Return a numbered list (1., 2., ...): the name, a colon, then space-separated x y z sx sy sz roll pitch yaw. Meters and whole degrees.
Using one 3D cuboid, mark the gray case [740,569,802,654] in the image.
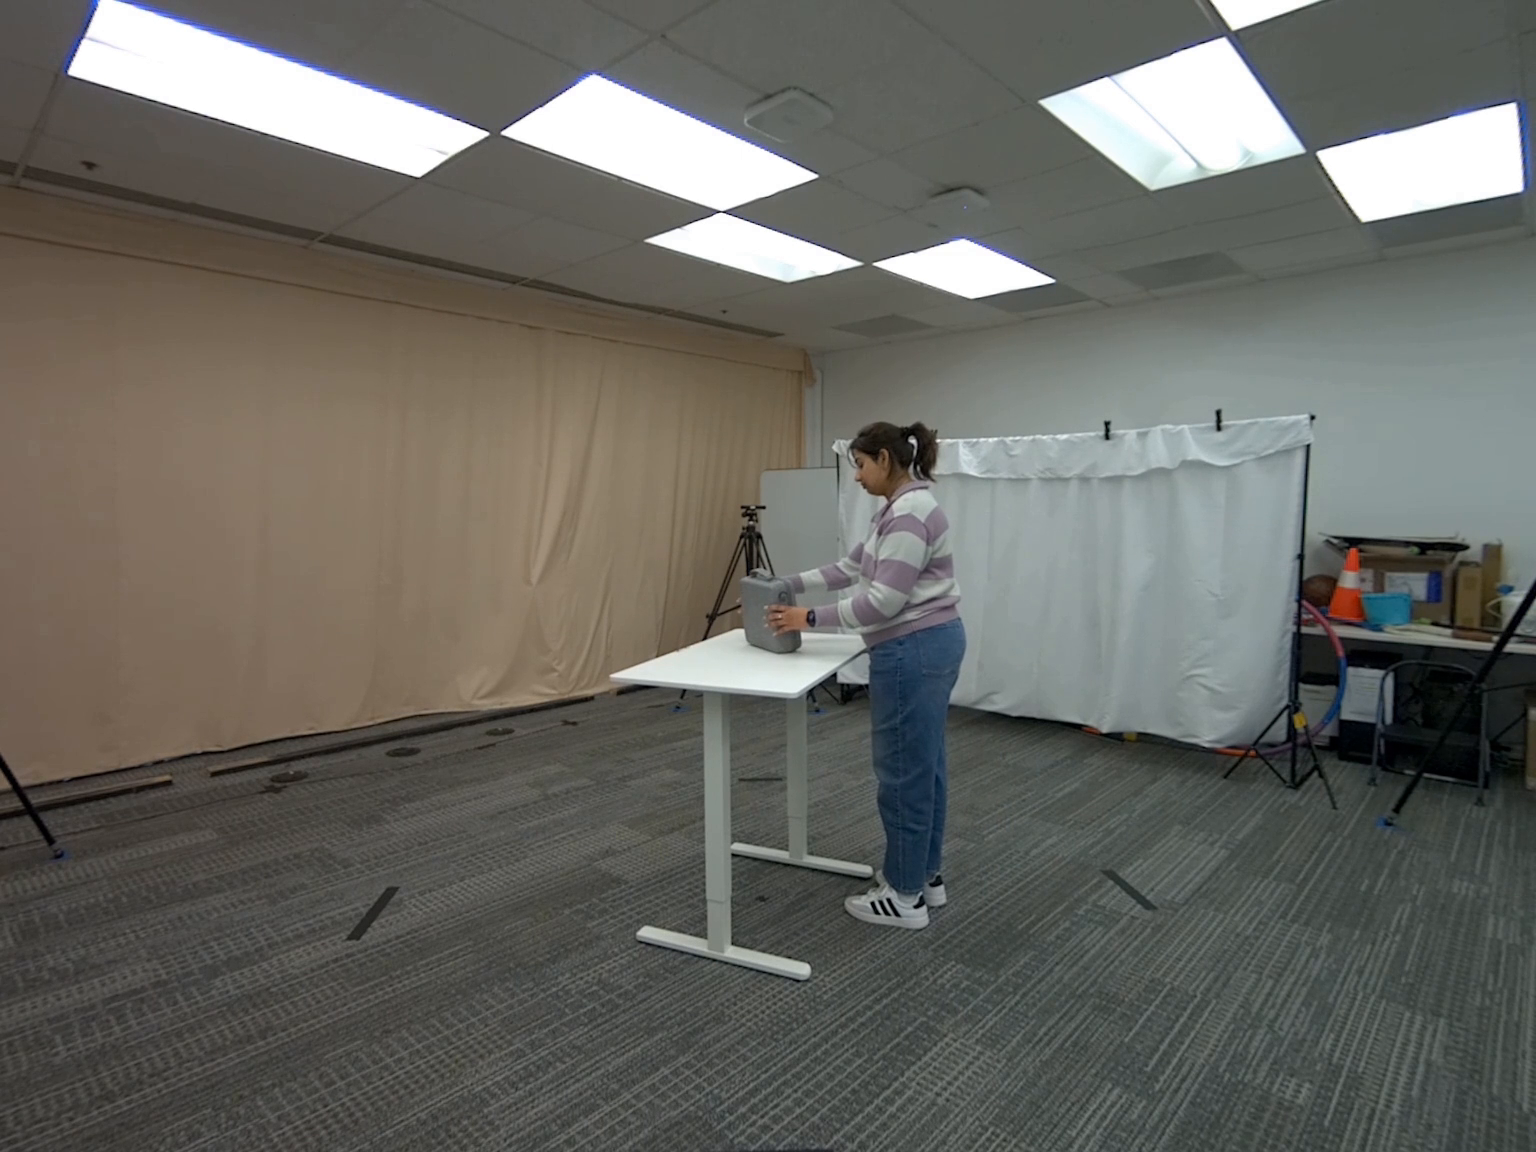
1. gray case: 0.008 0.131 2.971 0.102 0.259 0.264 -13 10 -25
